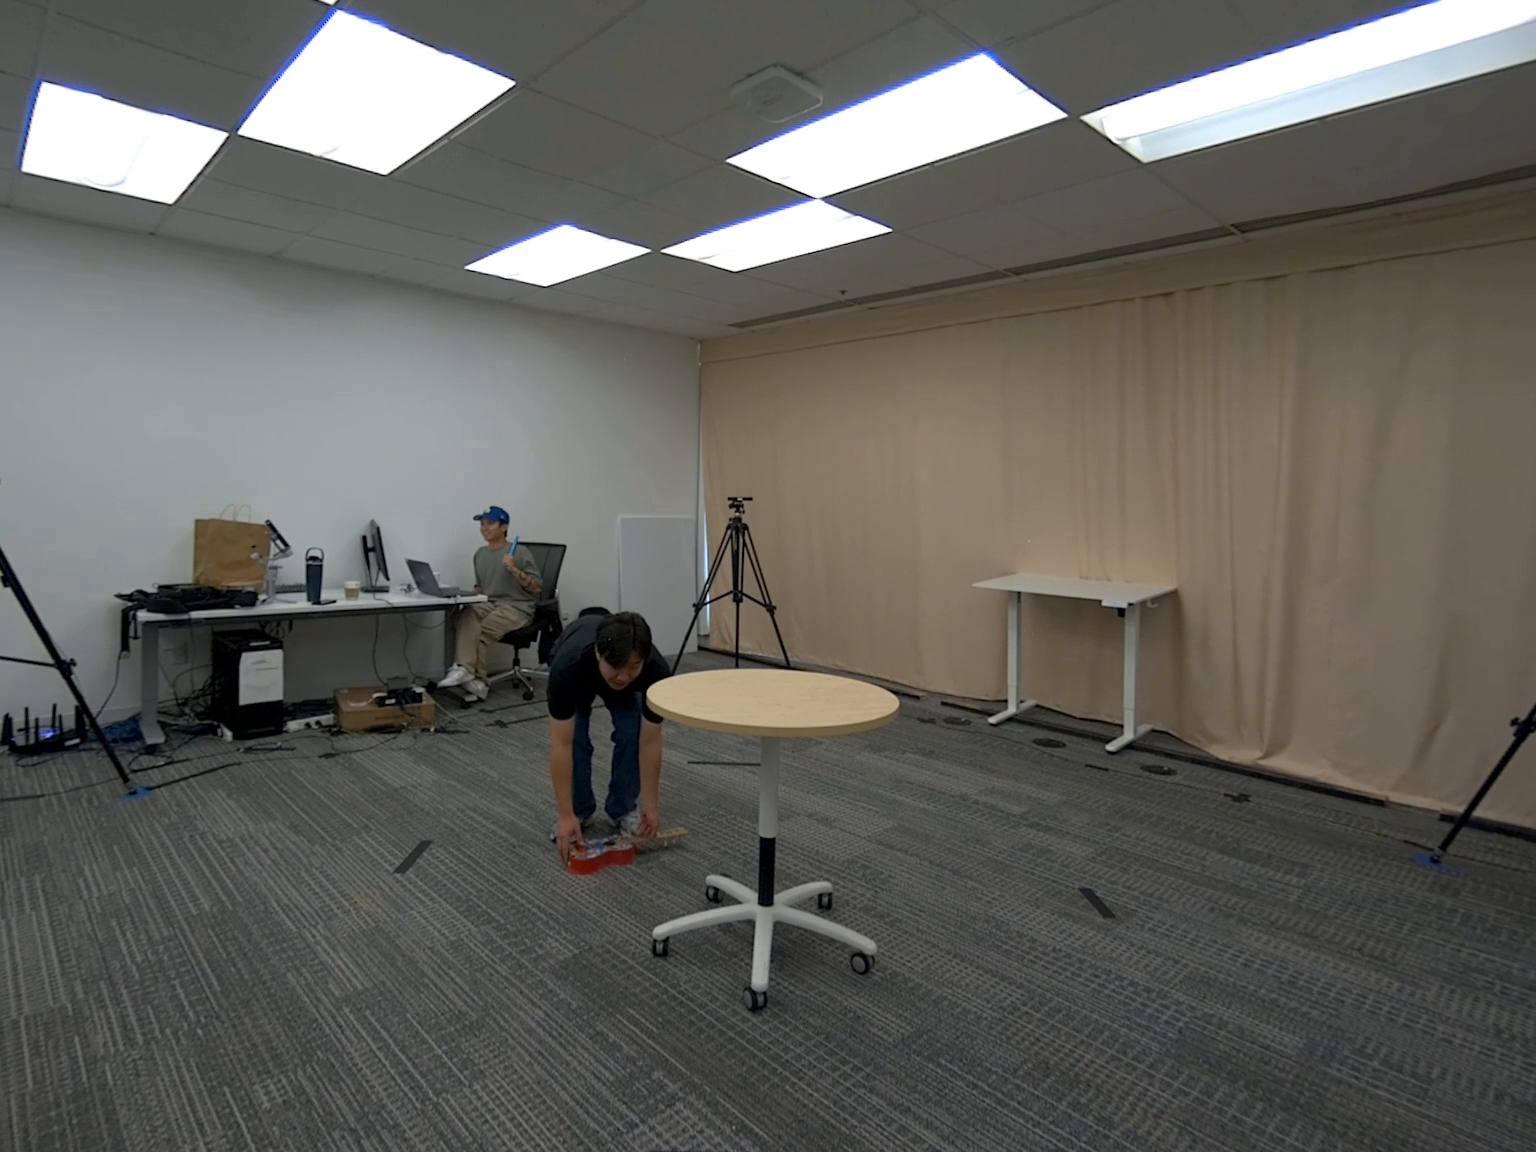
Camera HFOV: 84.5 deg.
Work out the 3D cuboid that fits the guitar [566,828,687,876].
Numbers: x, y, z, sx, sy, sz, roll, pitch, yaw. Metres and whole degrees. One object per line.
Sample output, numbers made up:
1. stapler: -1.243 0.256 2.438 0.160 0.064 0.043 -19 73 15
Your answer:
1. guitar: -0.544 1.051 3.230 0.491 0.070 0.196 -1 5 -18
